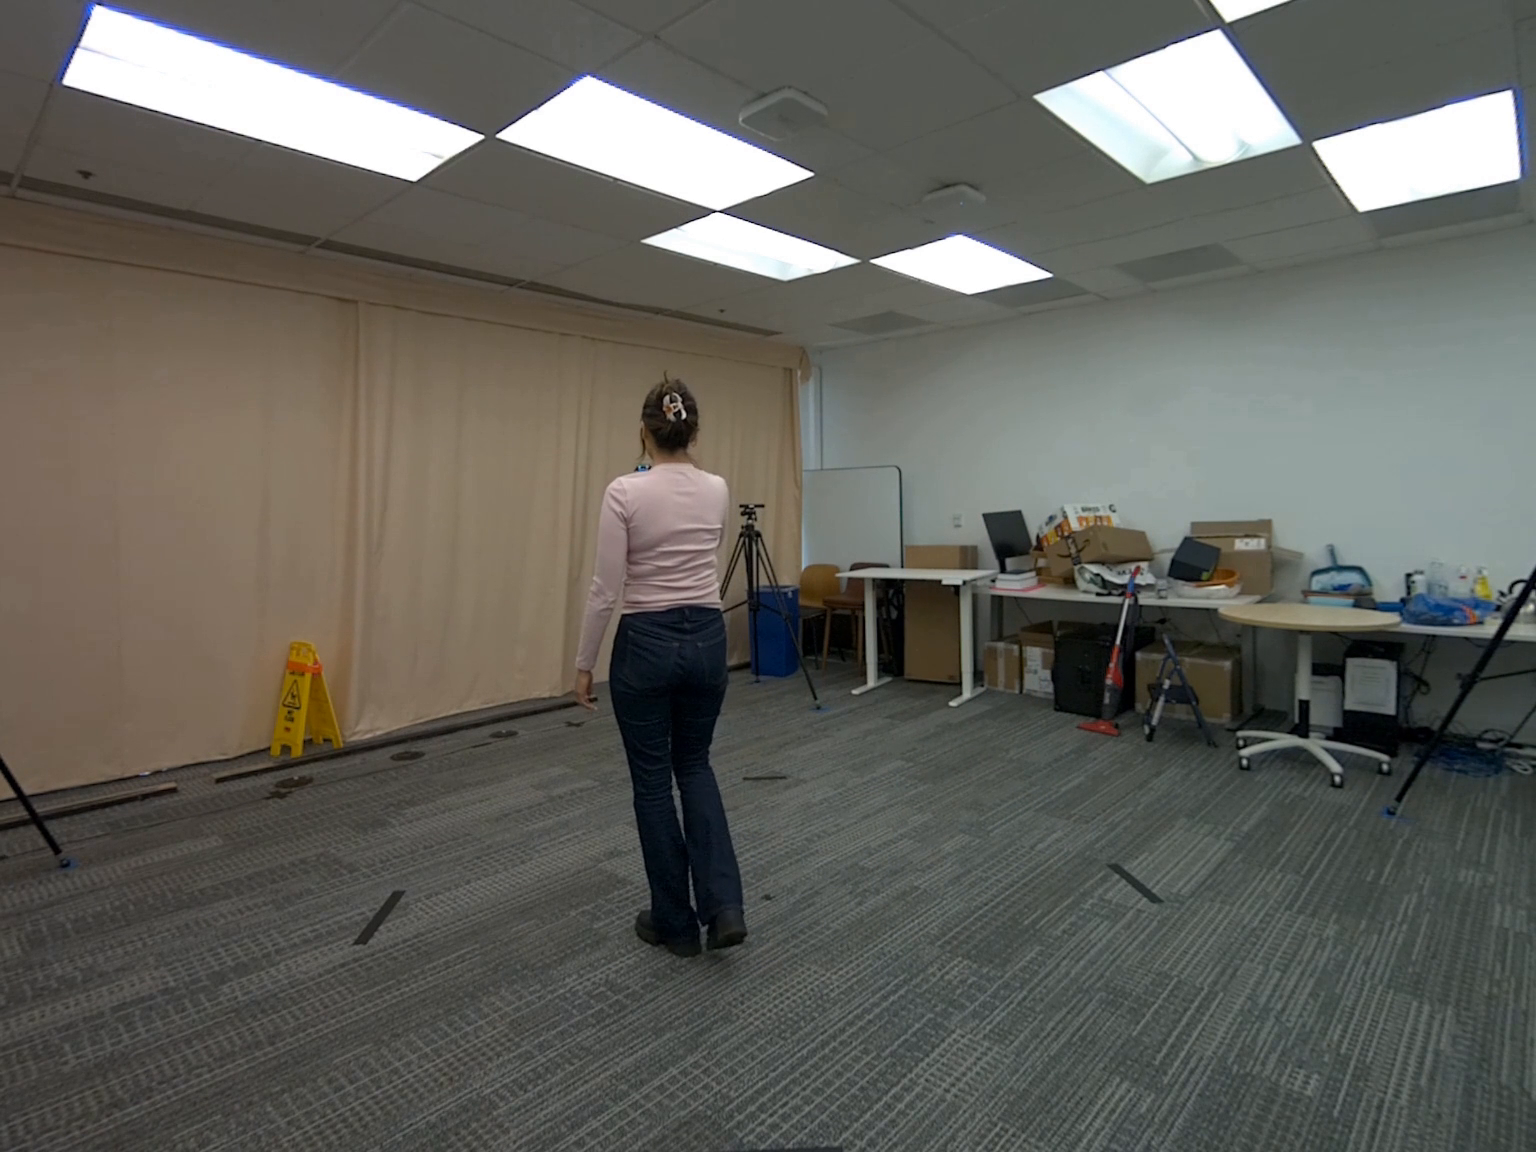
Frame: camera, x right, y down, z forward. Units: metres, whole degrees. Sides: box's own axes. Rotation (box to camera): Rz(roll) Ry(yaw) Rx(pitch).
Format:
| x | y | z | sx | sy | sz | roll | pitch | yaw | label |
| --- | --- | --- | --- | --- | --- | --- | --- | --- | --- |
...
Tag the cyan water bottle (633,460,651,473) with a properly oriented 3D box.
| x | y | z | sx | sy | sz | roll | pitch | yaw | label |
| --- | --- | --- | --- | --- | --- | --- | --- | --- | --- |
| -0.458 | -0.287 | 3.155 | 0.092 | 0.282 | 0.093 | -1 | 8 | -2 | cyan water bottle |
